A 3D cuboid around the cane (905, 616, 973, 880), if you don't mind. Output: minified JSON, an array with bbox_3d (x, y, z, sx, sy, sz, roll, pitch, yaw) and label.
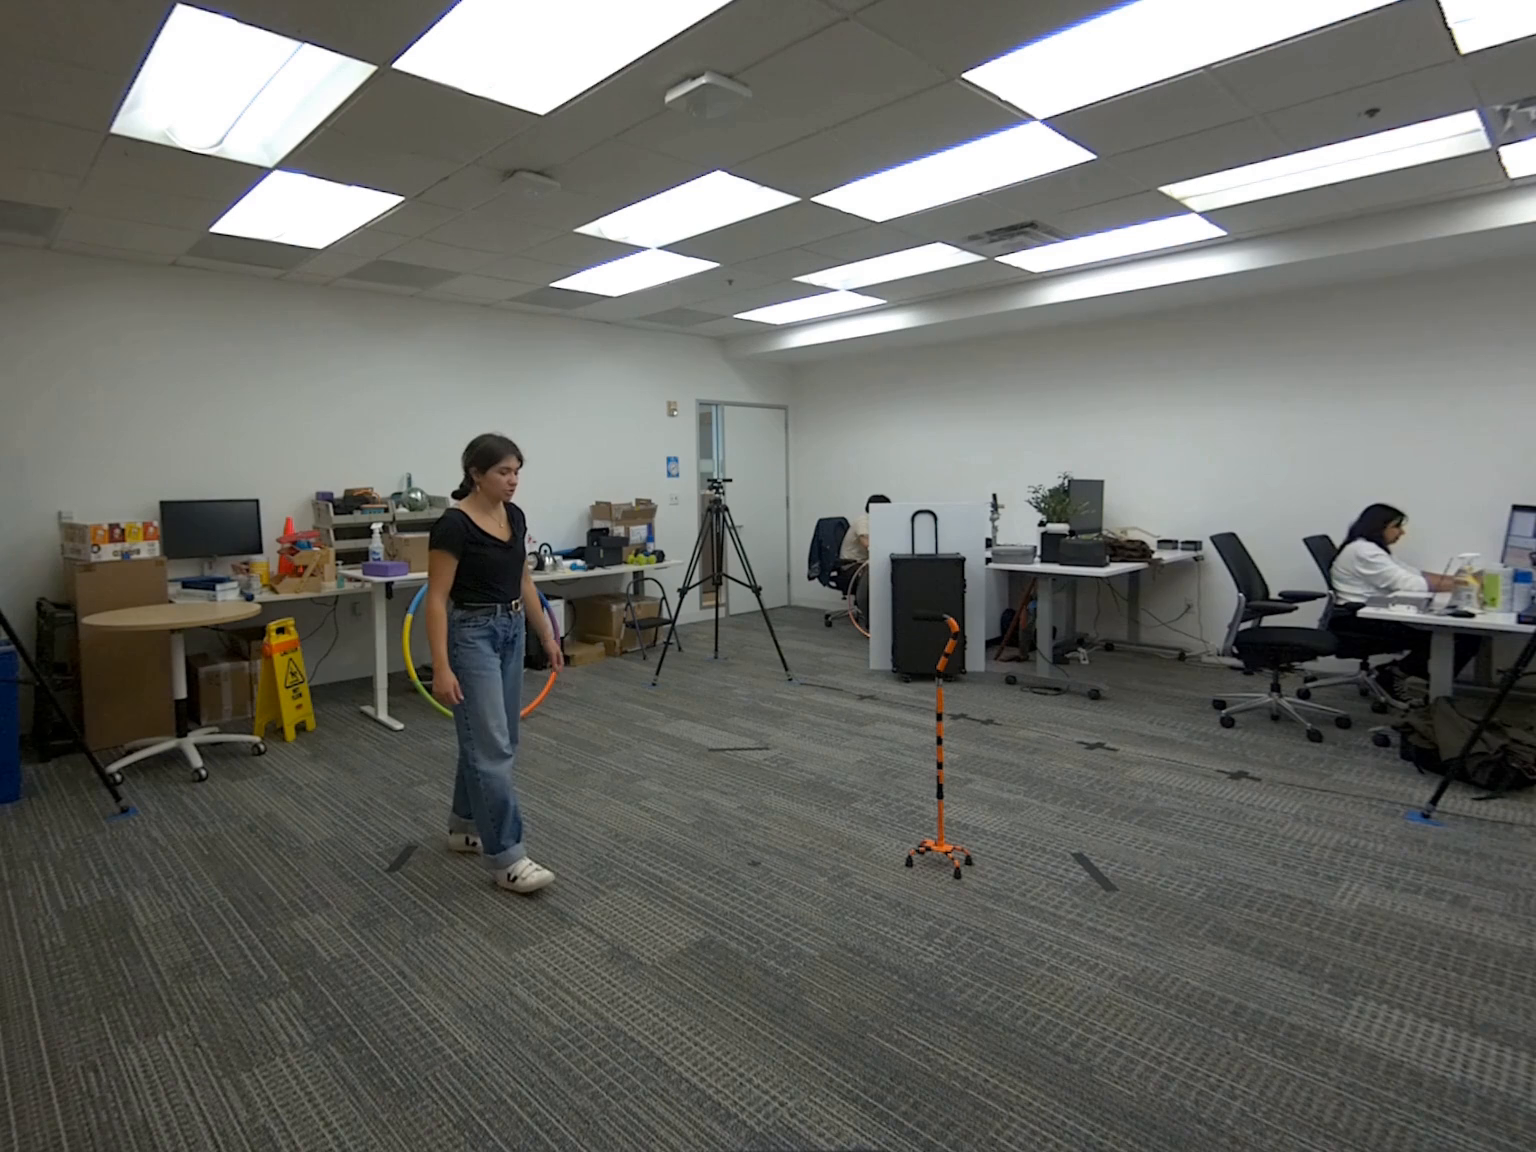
[{"bbox_3d":[0.608,0.584,3.044,0.212,0.906,0.148,1,3,29],"label":"cane"}]
